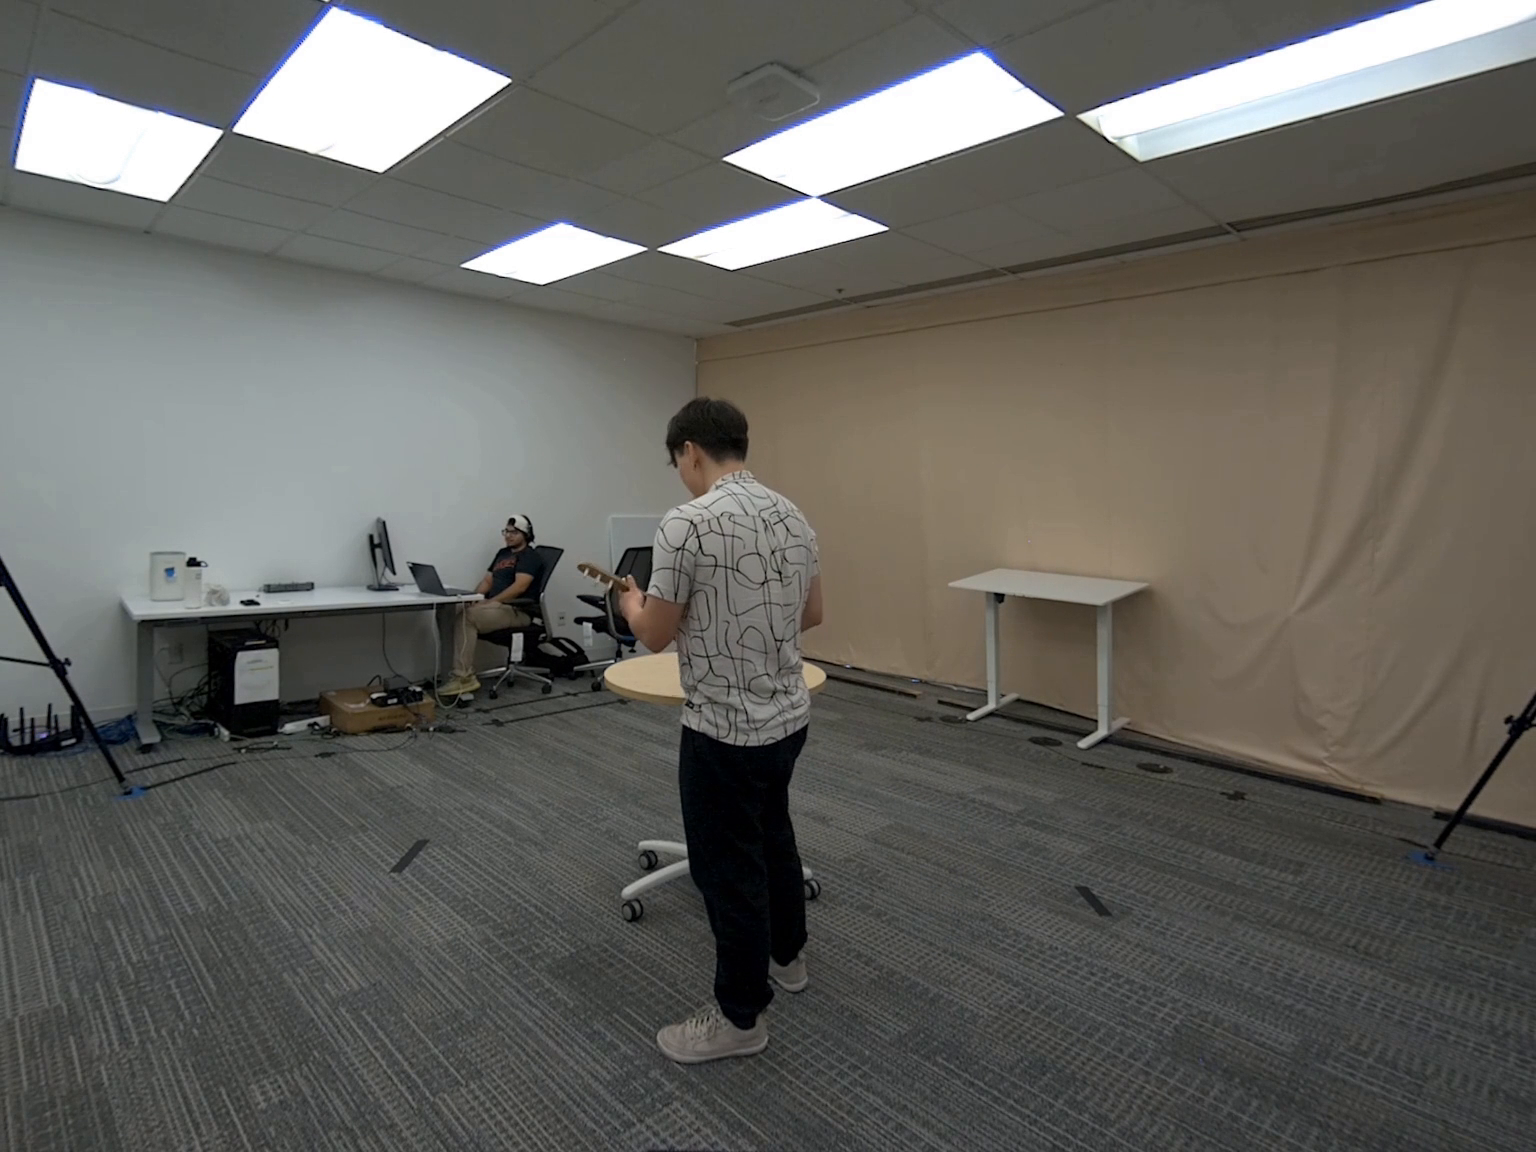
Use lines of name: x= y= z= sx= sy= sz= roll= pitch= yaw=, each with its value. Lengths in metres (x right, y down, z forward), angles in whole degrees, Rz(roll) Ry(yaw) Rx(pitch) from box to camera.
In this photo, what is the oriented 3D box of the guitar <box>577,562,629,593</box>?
guitar: x=-0.315 y=0.119 z=2.408 sx=0.495 sy=0.071 sz=0.192 roll=23 pitch=-26 yaw=-5
